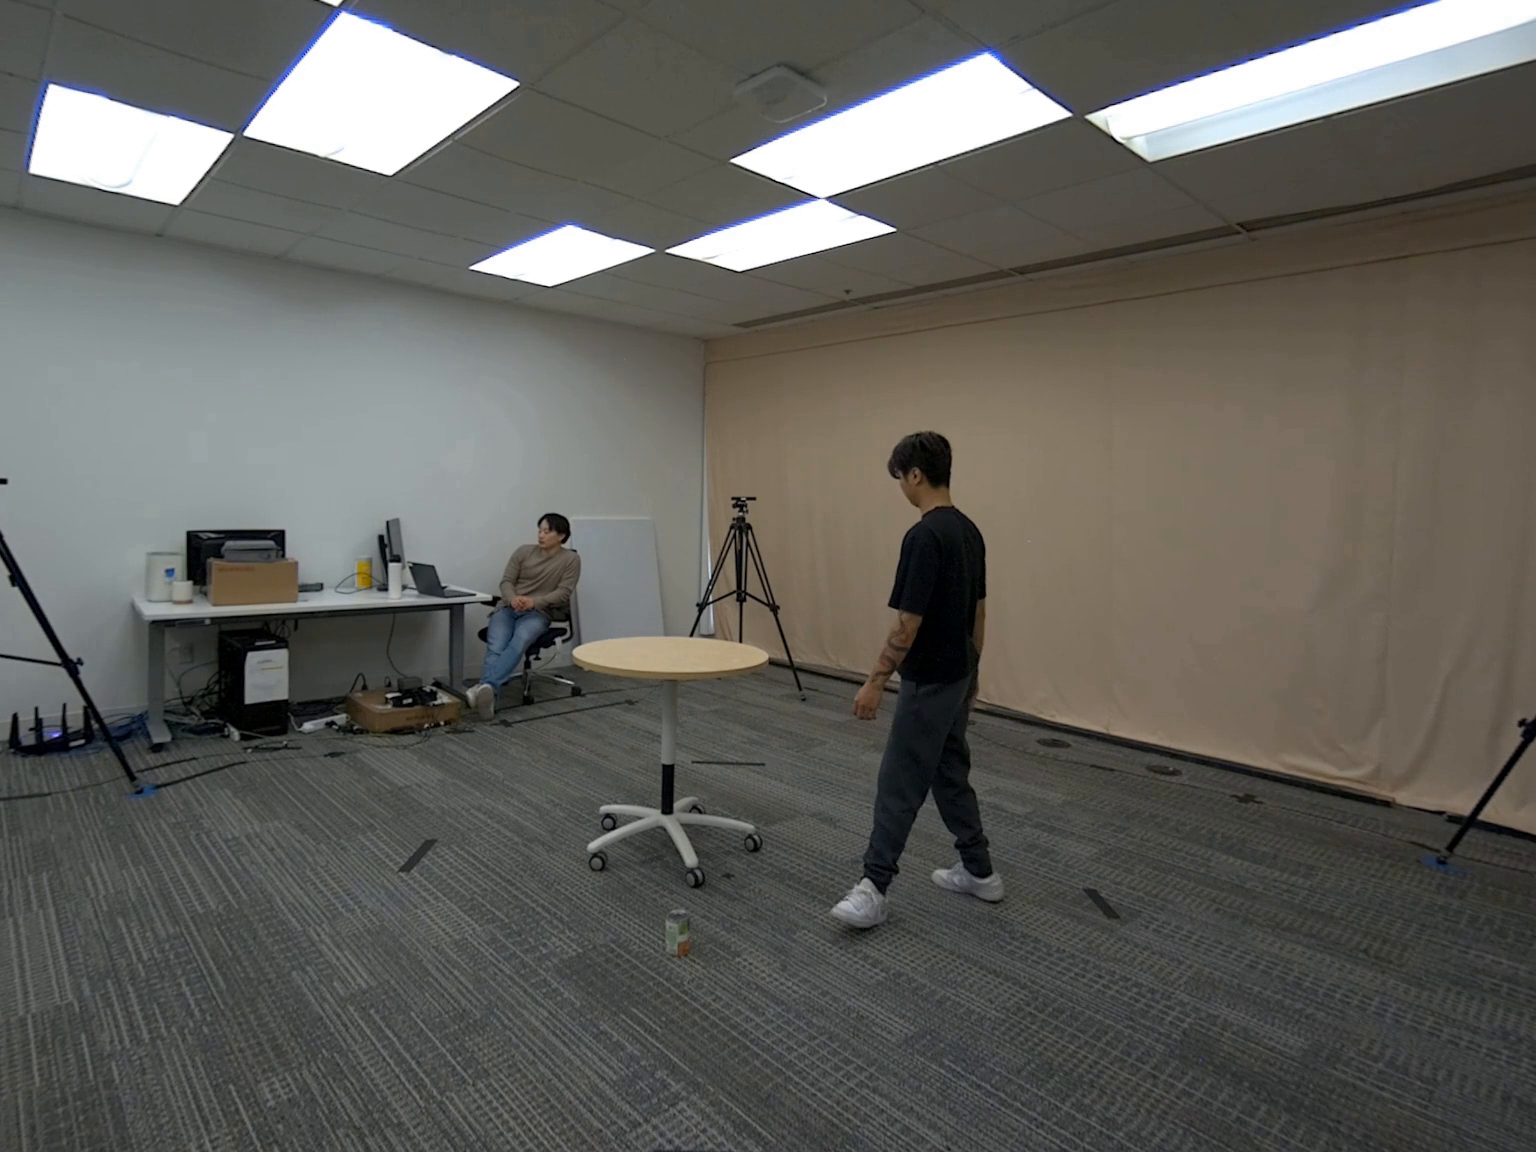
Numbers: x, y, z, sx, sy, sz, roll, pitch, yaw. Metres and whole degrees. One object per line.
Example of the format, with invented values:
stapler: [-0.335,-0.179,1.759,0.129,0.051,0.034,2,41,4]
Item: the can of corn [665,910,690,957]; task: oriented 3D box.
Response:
can of corn: [-0.281,1.102,2.573,0.074,0.111,0.074,2,4,-2]
